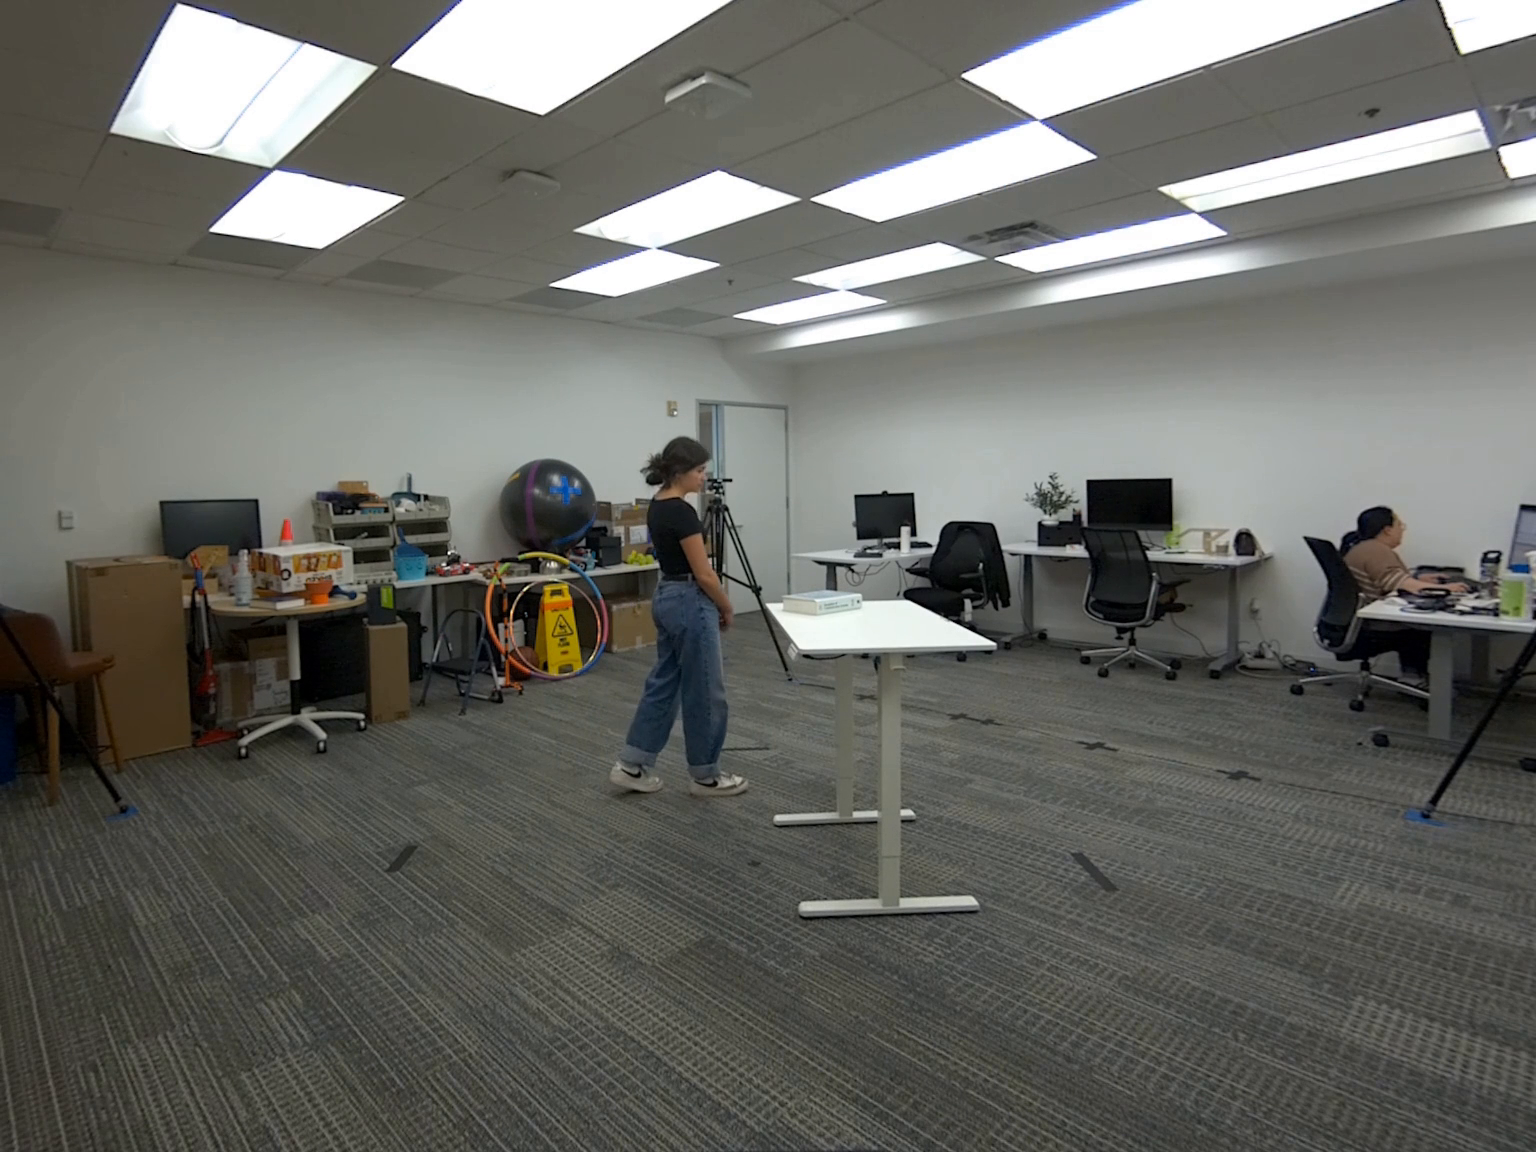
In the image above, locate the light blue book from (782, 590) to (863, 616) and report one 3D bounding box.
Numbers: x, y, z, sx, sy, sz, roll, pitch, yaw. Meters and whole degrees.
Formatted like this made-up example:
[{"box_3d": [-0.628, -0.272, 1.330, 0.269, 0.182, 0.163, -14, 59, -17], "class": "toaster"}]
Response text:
[{"box_3d": [0.216, 0.103, 3.353, 0.254, 0.059, 0.197, -6, 8, -43], "class": "light blue book"}]
